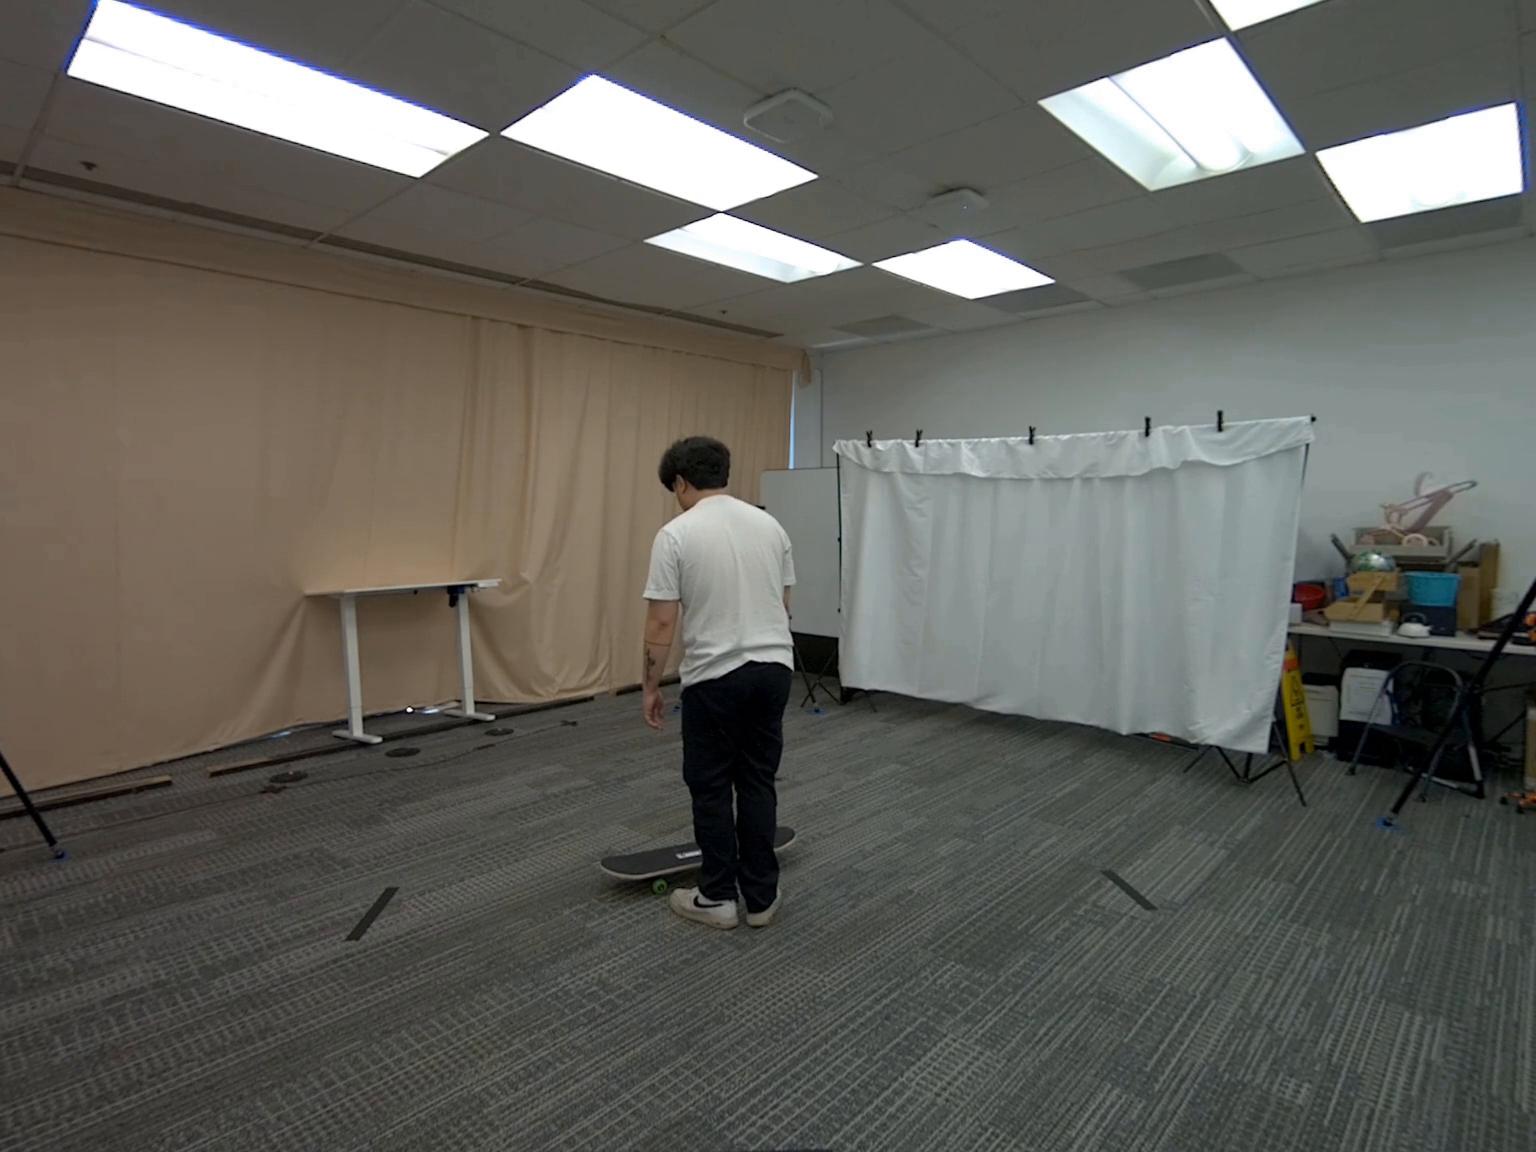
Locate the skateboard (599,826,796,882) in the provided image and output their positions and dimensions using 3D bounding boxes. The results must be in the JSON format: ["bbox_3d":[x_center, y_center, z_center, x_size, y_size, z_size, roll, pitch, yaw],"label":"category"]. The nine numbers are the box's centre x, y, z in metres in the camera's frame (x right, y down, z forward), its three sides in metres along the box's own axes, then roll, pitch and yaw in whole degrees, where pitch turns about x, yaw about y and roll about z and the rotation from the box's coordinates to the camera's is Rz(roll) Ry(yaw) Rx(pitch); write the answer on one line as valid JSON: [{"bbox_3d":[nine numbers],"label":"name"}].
[{"bbox_3d":[-0.249,1.072,3.176,0.767,0.110,0.198,-3,5,-24],"label":"skateboard"}]
